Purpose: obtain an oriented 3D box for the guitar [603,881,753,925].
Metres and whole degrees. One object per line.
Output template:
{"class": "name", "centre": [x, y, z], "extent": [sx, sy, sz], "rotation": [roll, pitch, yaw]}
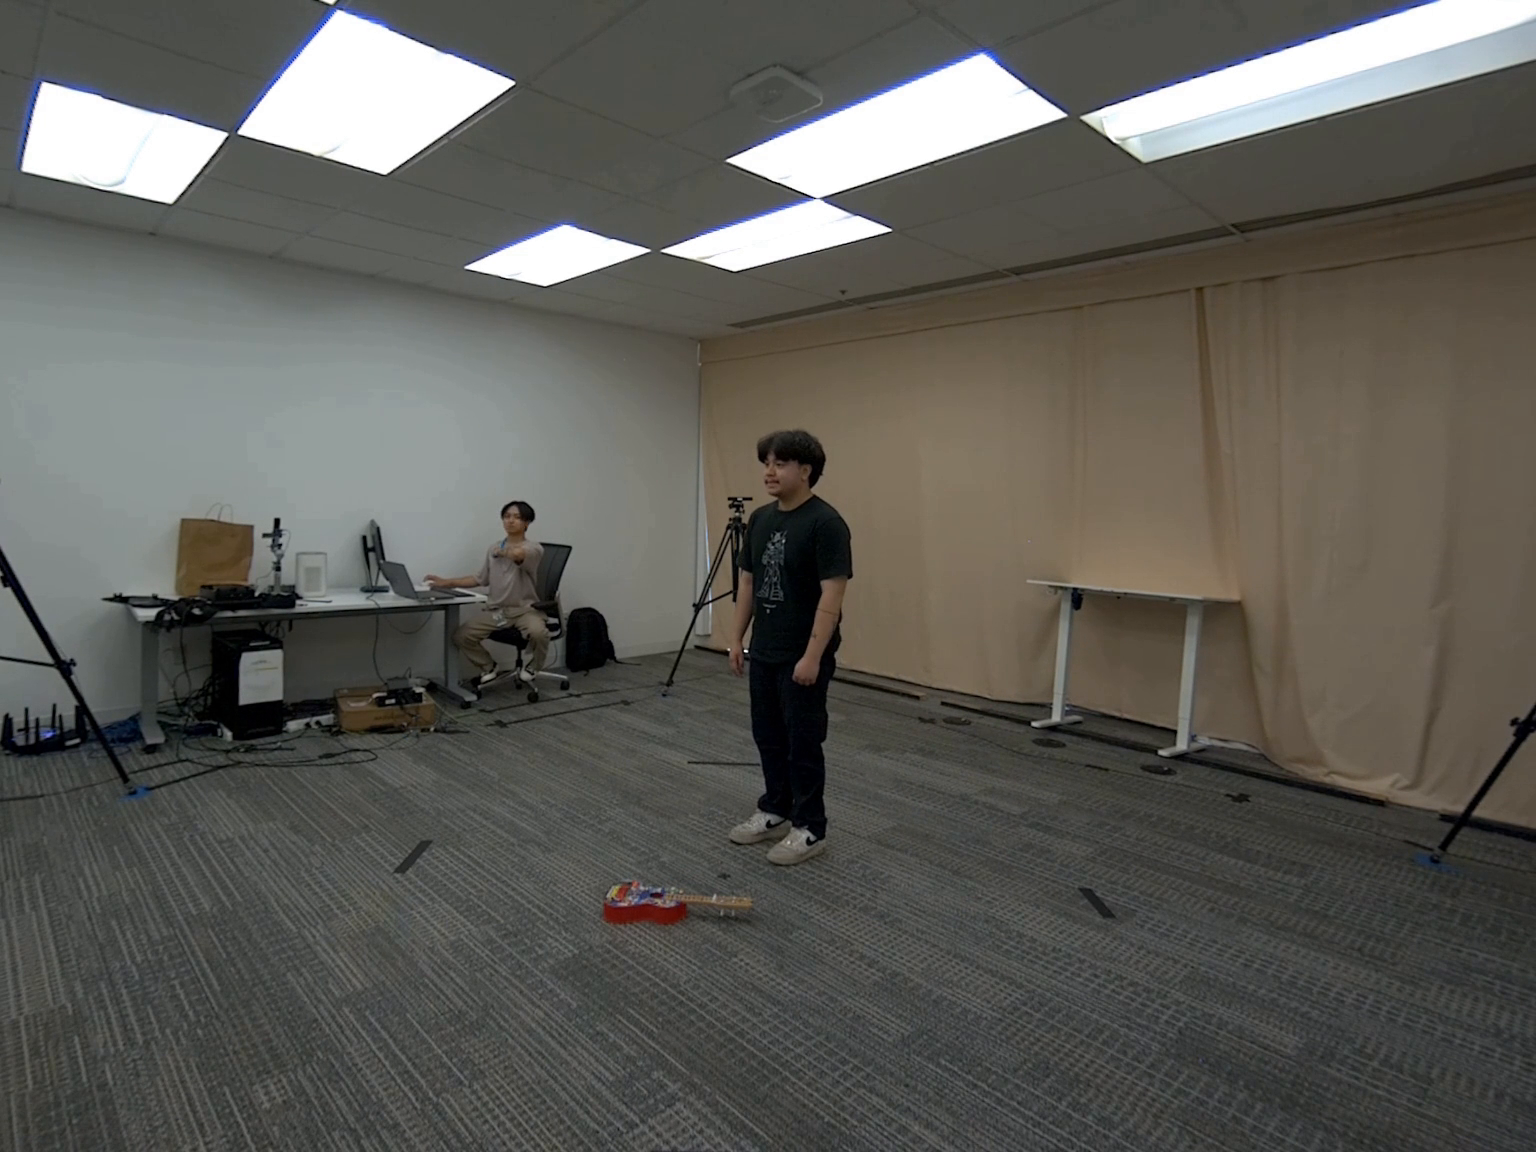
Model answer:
{"class": "guitar", "centre": [-0.311, 1.099, 2.779], "extent": [0.504, 0.070, 0.191], "rotation": [2, 5, 16]}
